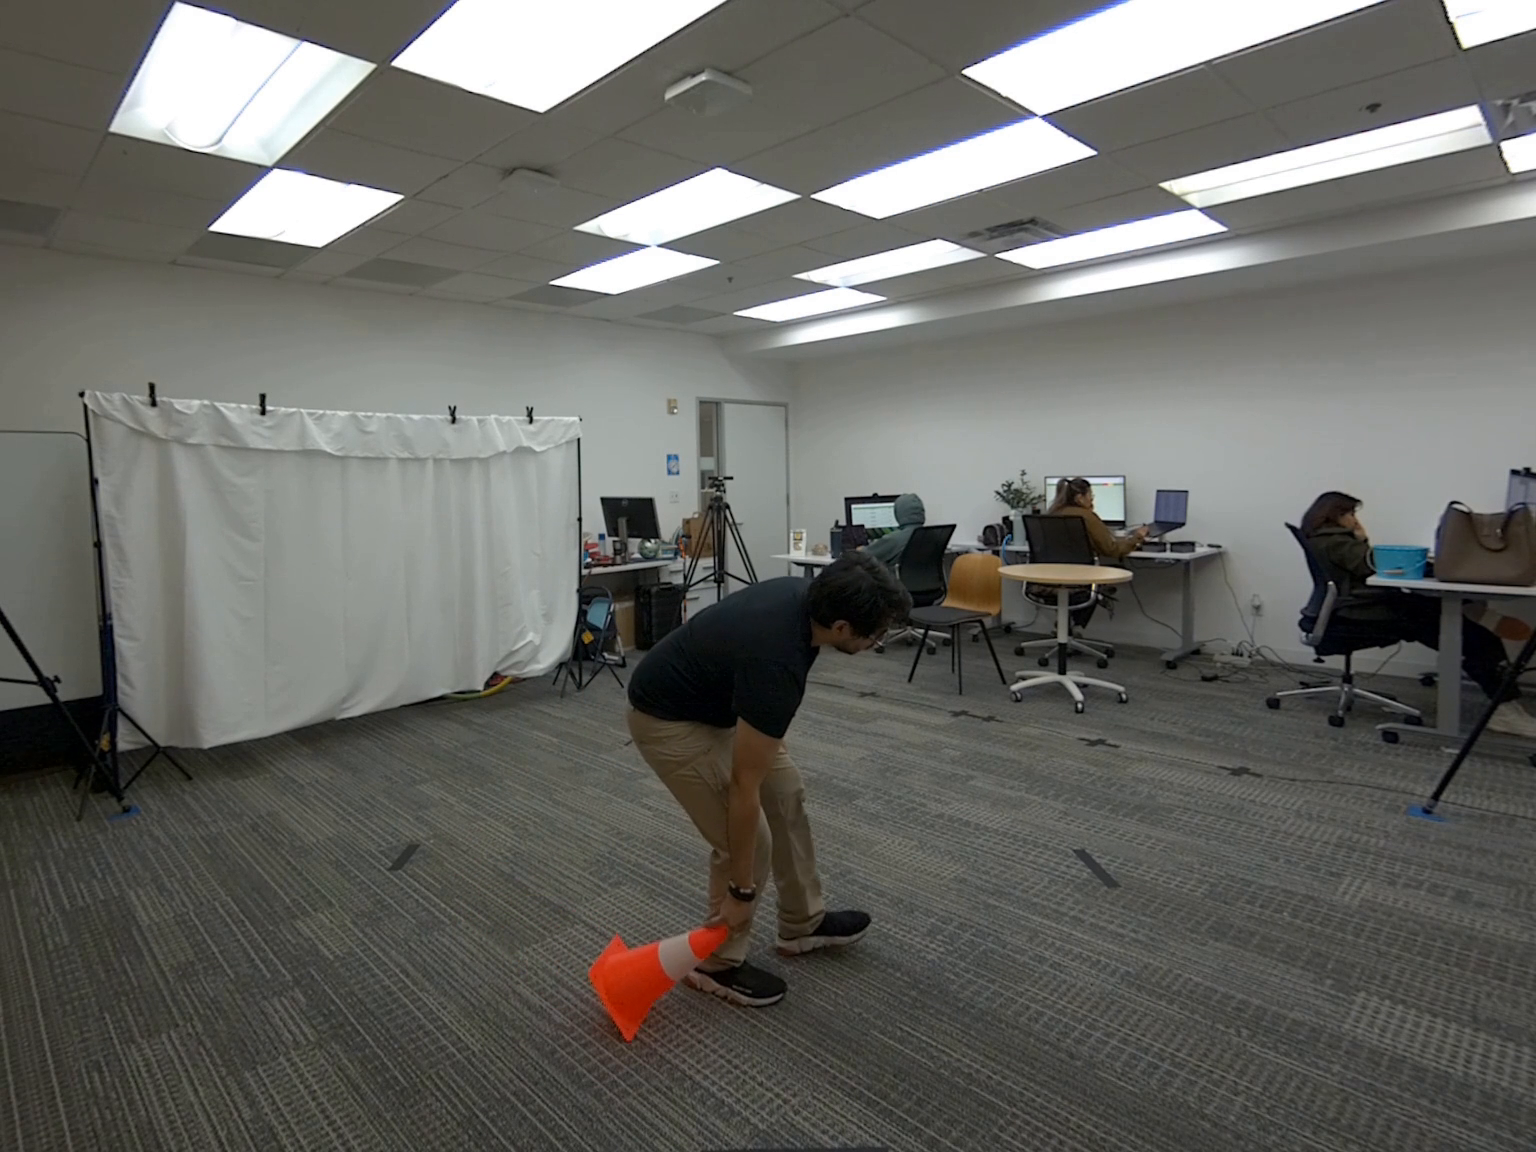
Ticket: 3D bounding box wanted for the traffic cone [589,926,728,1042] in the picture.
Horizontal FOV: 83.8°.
[{"bbox_3d":[-0.223,0.968,2.168,0.385,0.207,0.201,-36,-5,15],"label":"traffic cone"}]
